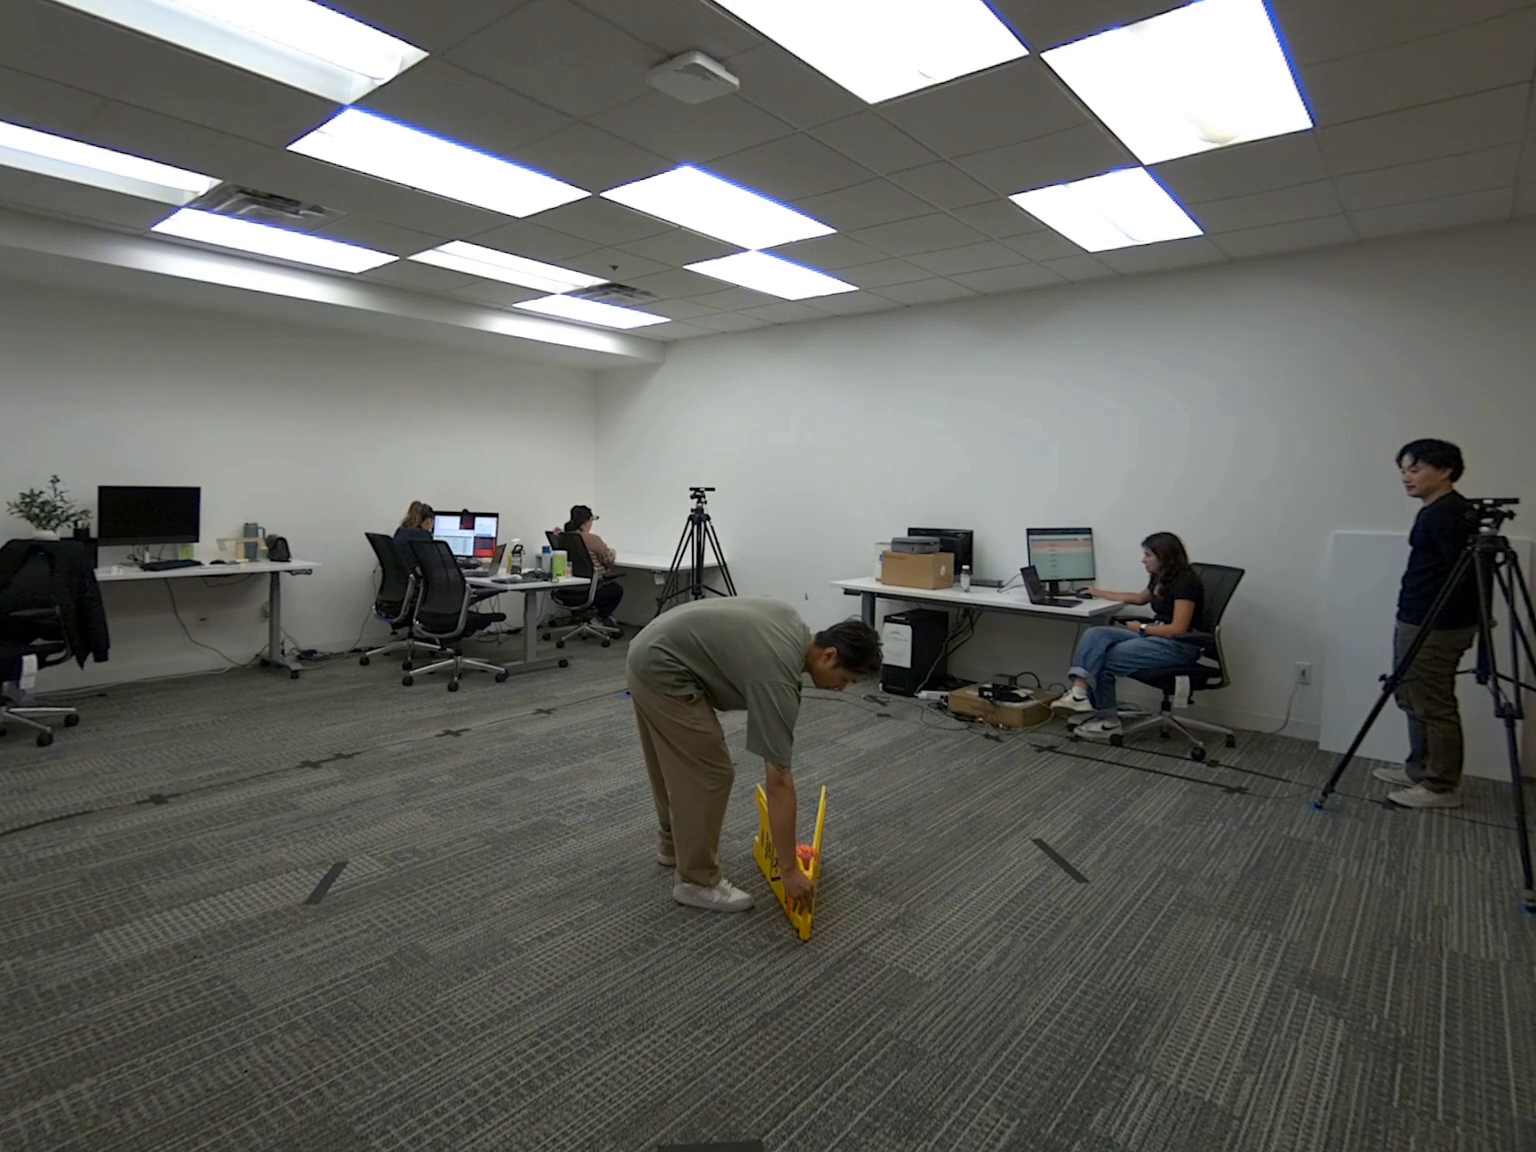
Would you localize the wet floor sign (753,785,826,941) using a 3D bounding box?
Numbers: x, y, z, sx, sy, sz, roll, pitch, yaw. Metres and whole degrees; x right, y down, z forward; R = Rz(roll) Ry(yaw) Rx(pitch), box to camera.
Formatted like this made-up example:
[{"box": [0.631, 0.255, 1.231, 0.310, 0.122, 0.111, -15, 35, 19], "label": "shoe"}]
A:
[{"box": [0.088, 0.969, 2.901, 0.289, 0.280, 0.652, 0, 8, -3], "label": "wet floor sign"}]
